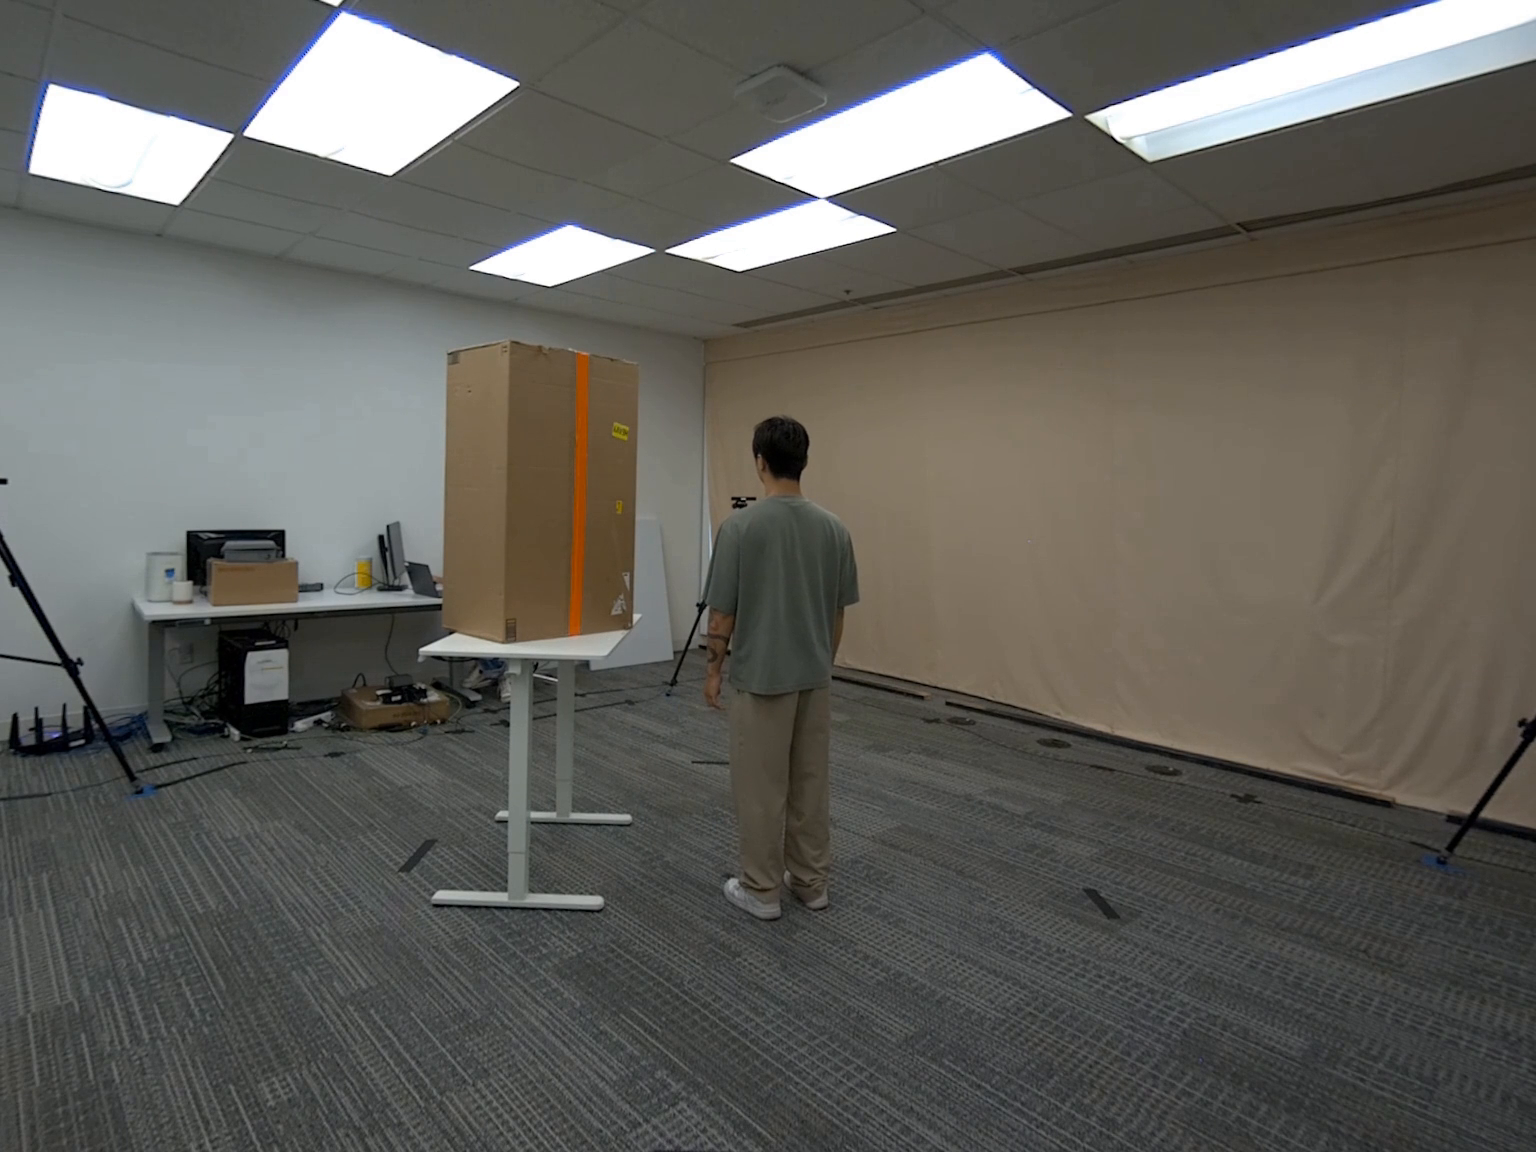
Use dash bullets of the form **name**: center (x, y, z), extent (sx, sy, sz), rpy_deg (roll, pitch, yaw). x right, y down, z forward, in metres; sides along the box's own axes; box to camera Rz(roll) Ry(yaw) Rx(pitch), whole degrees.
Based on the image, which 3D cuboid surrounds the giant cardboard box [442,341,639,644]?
- **giant cardboard box**: center (-0.855, -0.306, 3.166), extent (0.437, 1.023, 0.564), rpy_deg (5, 4, 41)
